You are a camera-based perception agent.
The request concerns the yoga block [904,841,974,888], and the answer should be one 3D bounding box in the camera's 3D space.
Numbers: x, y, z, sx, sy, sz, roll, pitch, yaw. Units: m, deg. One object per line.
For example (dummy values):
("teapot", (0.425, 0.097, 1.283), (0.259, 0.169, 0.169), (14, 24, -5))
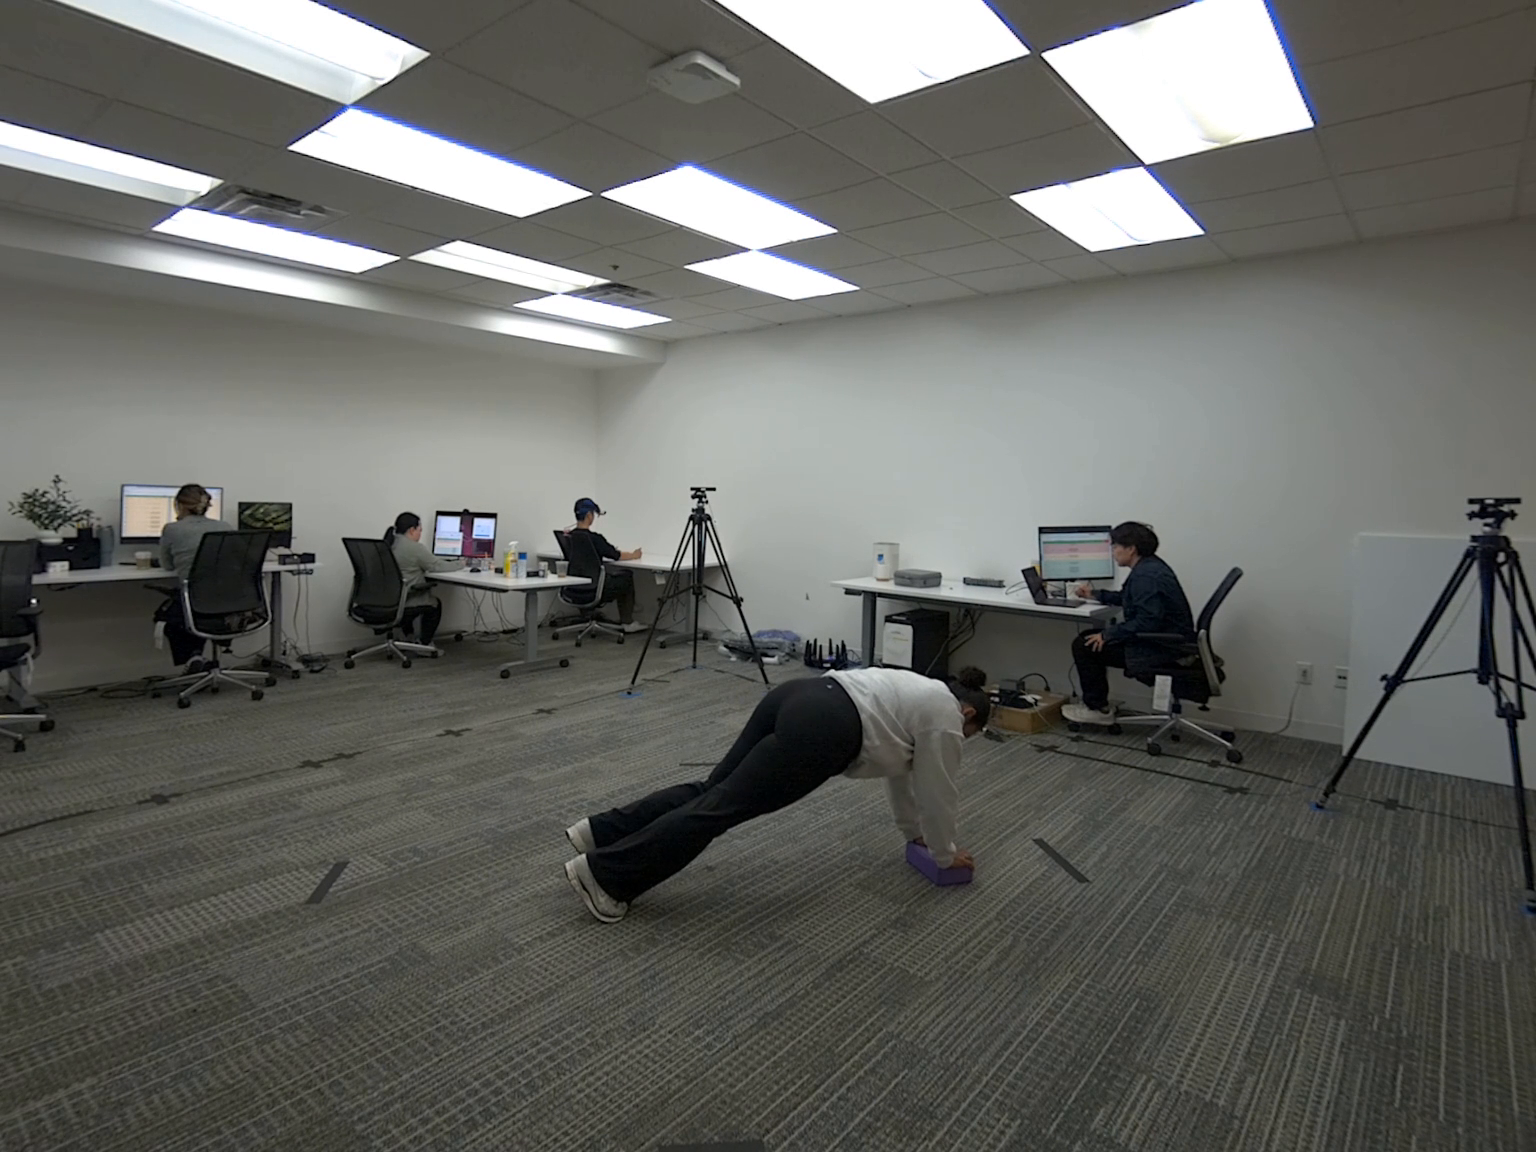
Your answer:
("yoga block", (0.622, 1.052, 3.138), (0.146, 0.076, 0.235), (-1, 6, -20))
